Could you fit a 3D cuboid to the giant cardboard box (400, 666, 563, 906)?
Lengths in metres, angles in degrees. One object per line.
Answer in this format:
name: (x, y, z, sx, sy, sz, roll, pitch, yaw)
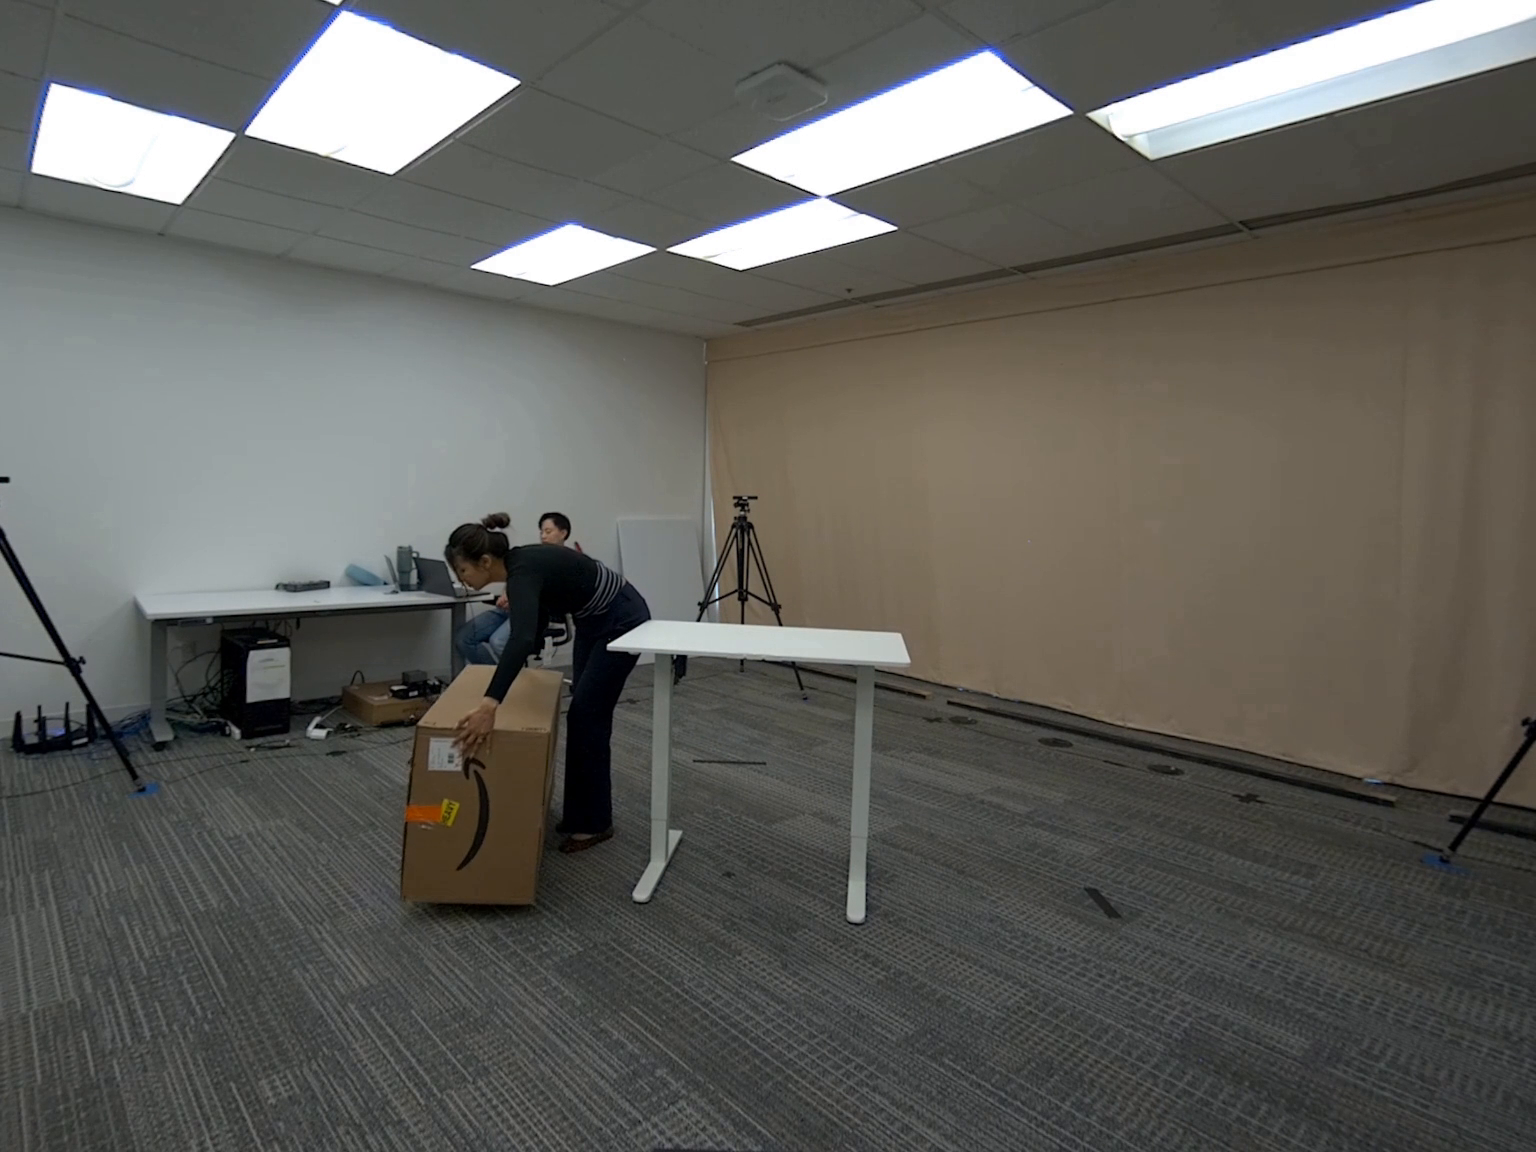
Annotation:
giant cardboard box: (-1.049, 0.733, 3.206, 0.423, 0.576, 1.036, 4, 3, -11)
